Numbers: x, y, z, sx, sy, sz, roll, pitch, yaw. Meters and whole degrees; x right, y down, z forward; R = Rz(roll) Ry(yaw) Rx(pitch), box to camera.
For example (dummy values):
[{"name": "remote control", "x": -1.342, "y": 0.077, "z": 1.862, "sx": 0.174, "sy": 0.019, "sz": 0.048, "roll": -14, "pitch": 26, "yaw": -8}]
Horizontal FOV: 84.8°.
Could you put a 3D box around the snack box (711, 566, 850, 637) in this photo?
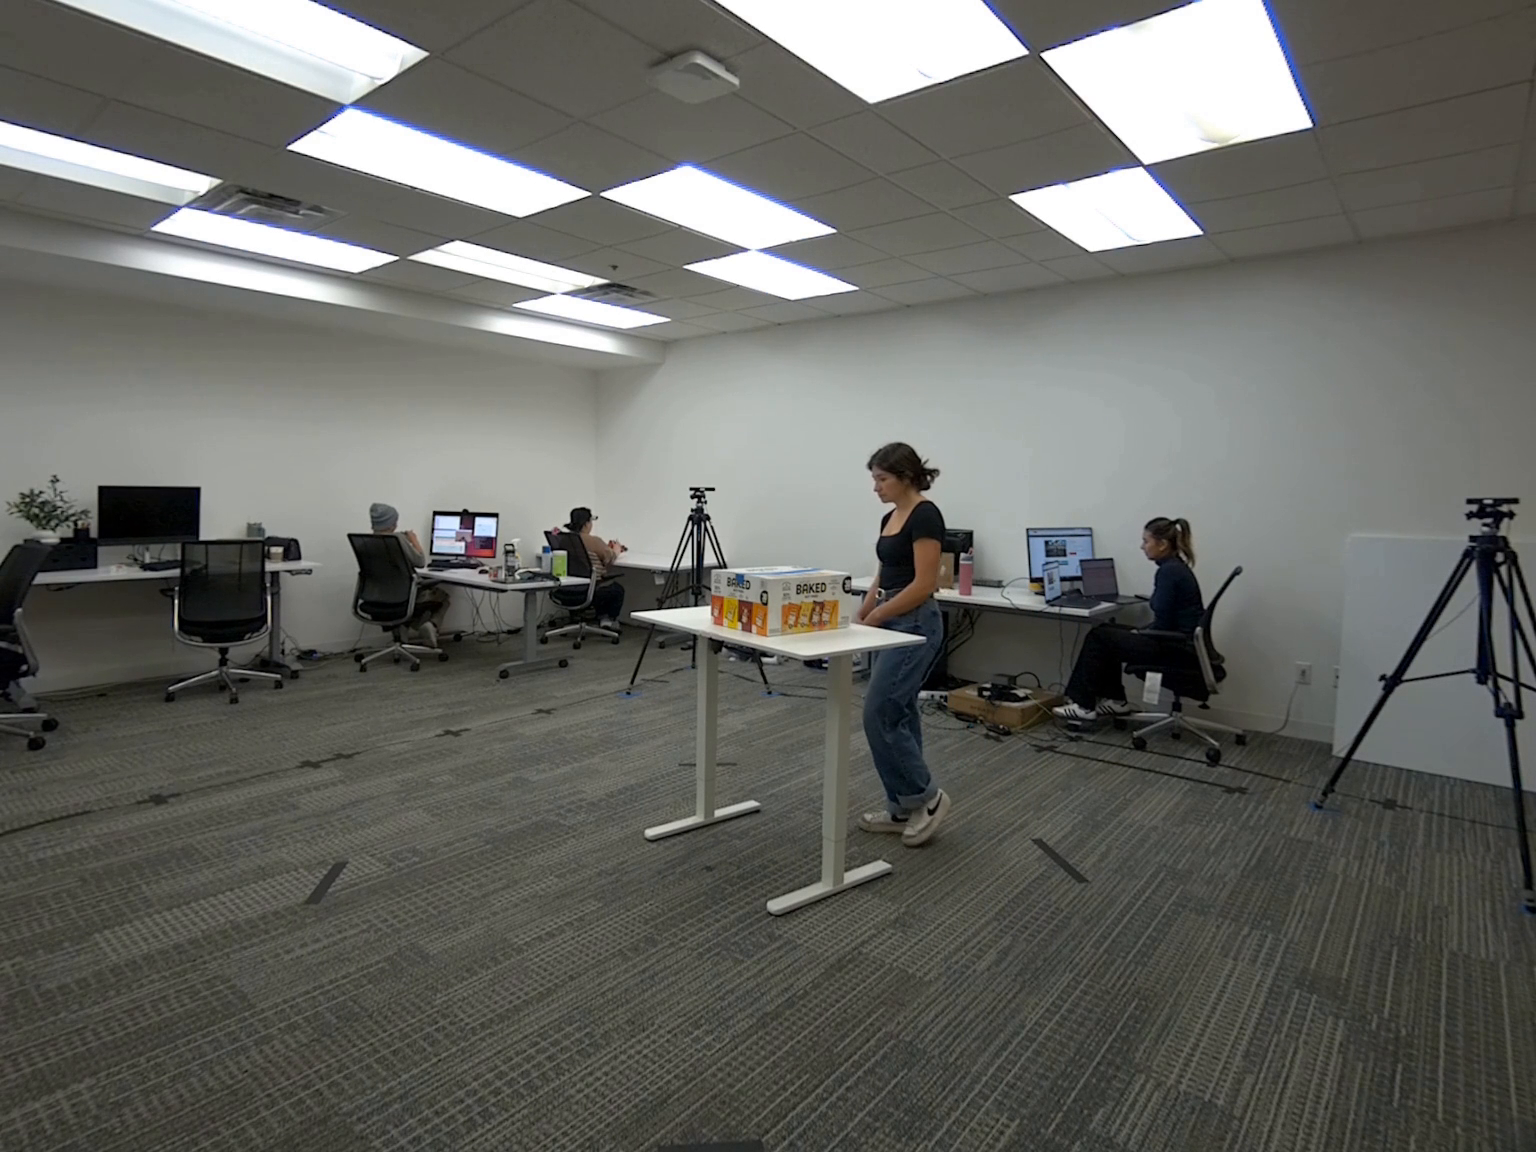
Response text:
[{"name": "snack box", "x": 0.038, "y": 0.081, "z": 3.177, "sx": 0.393, "sy": 0.205, "sz": 0.352, "roll": -3, "pitch": 7, "yaw": -39}]
